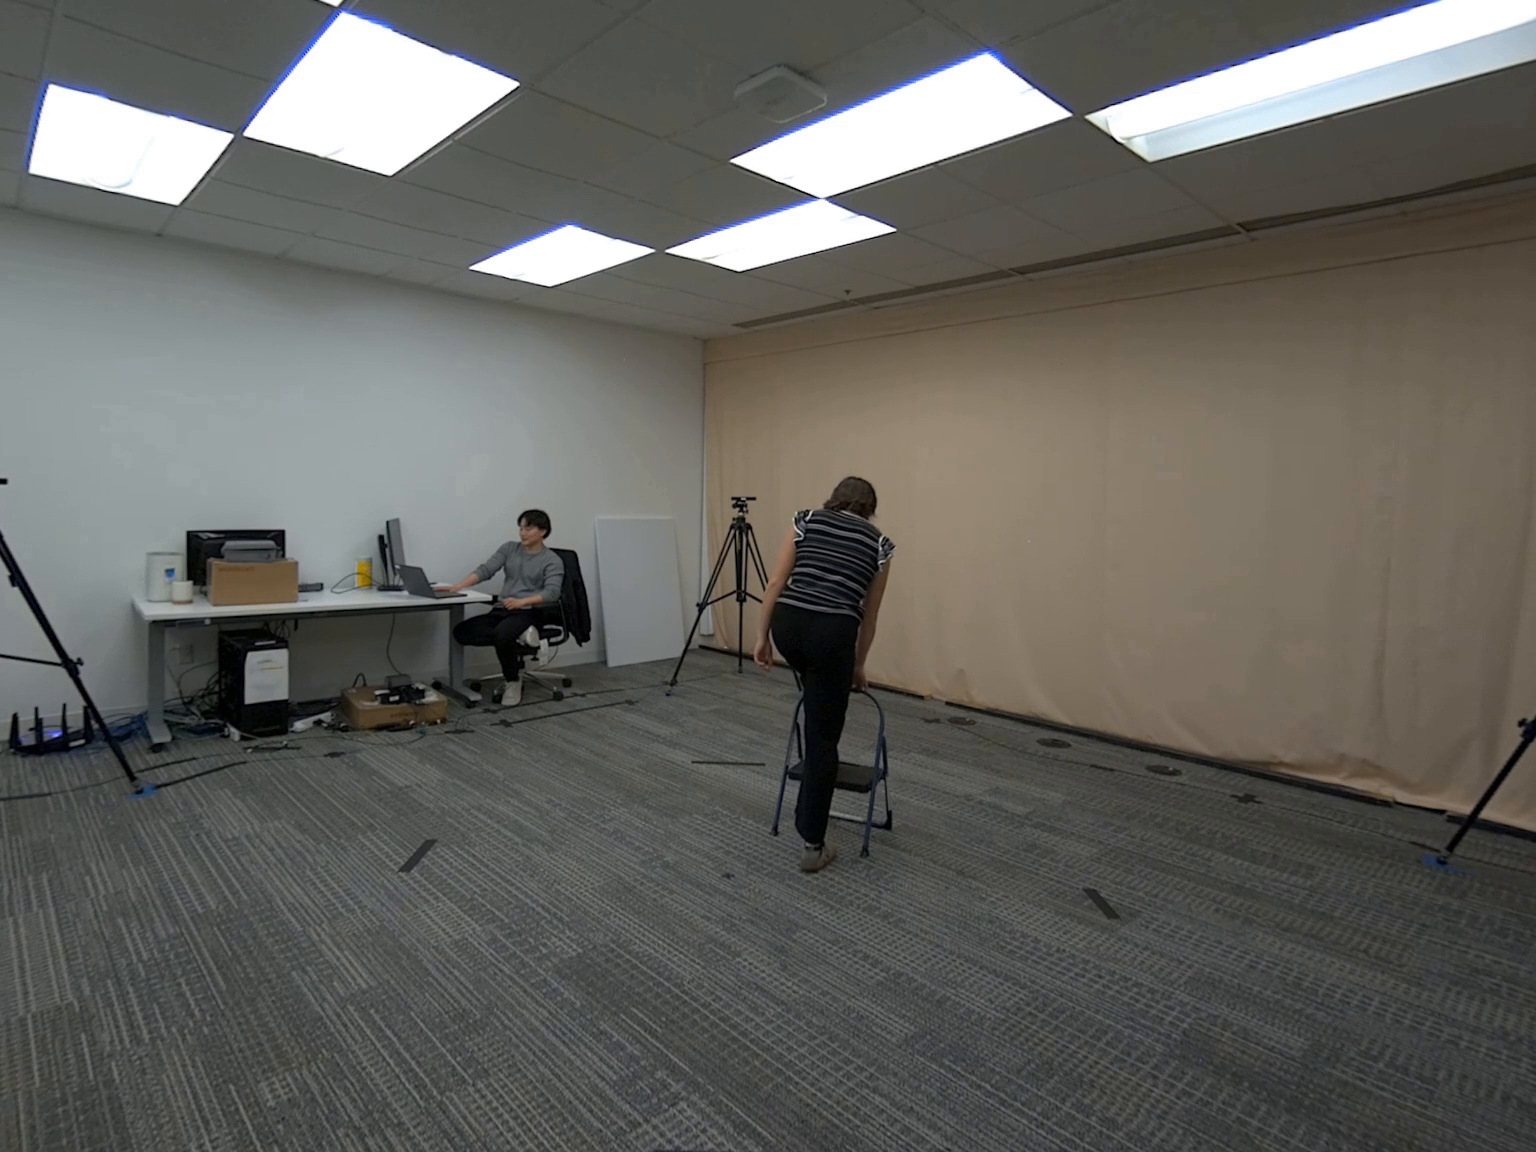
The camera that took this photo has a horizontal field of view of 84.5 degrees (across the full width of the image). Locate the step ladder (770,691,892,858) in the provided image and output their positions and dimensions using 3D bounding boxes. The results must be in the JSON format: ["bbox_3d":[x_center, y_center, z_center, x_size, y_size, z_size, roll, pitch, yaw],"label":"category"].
[{"bbox_3d":[0.276,0.777,3.536,0.439,0.605,0.343,3,3,27],"label":"step ladder"}]
